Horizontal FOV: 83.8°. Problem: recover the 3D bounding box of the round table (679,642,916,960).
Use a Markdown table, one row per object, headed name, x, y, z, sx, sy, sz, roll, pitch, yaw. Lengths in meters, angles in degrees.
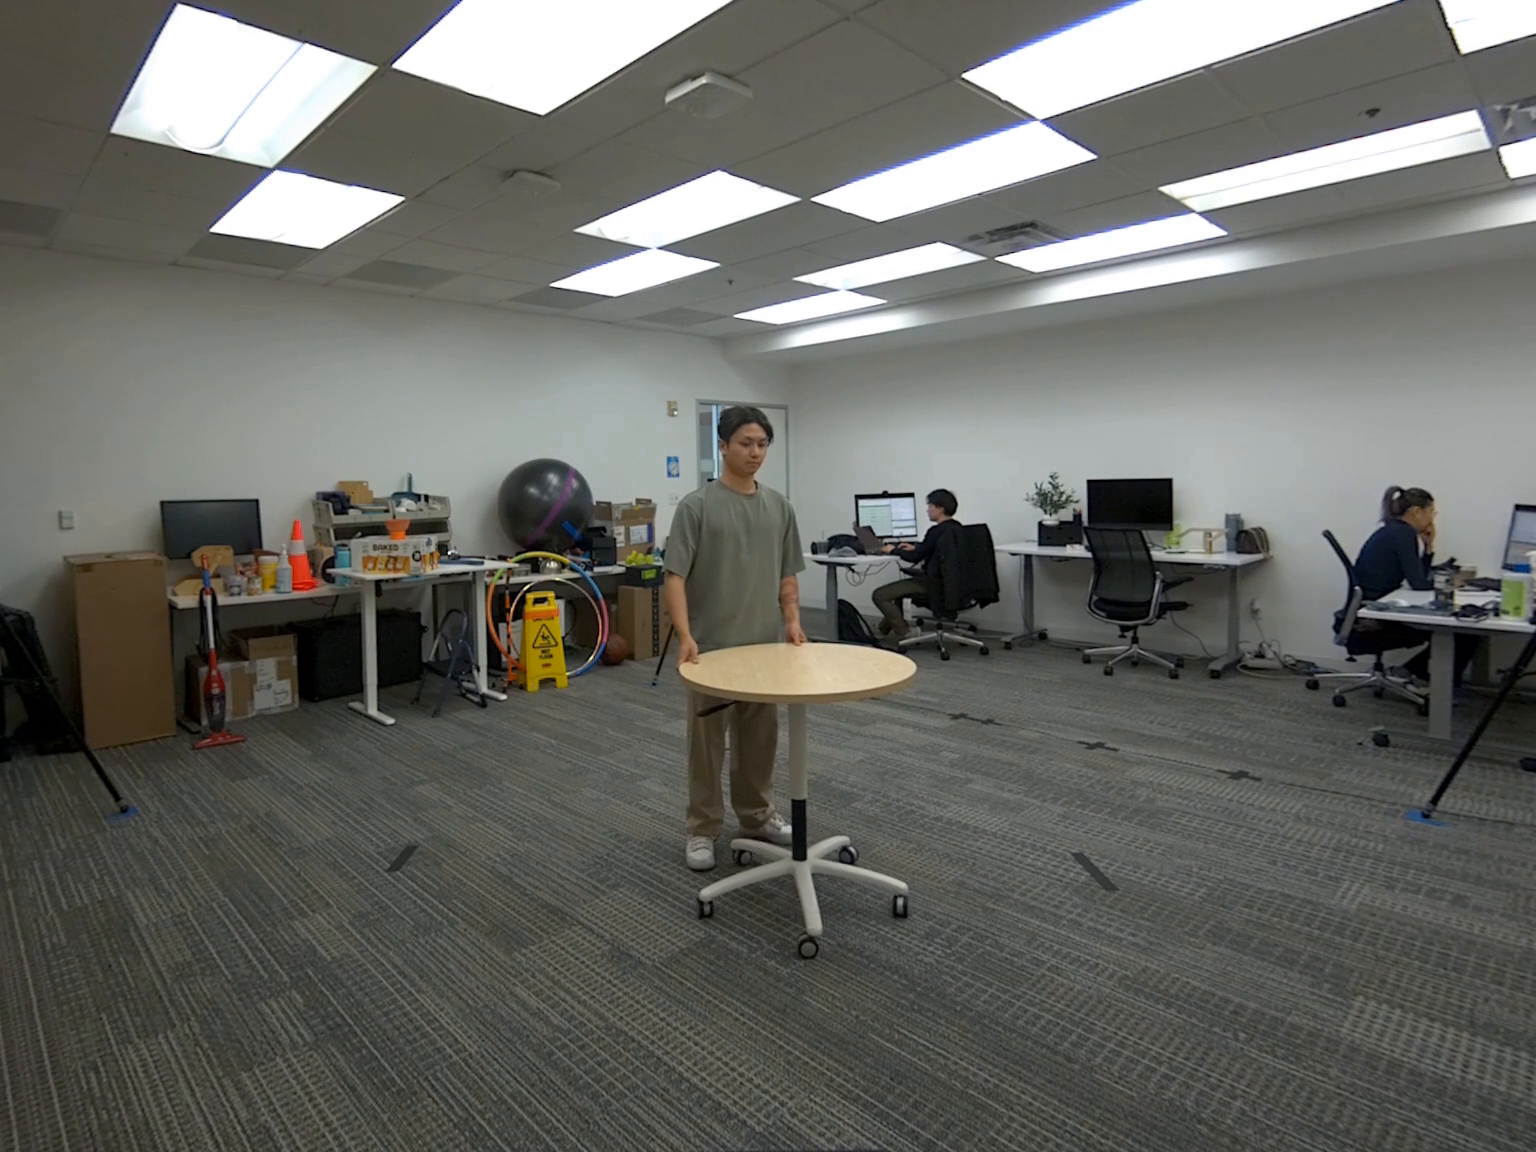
| name | x | y | z | sx | sy | sz | roll | pitch | yaw |
| --- | --- | --- | --- | --- | --- | --- | --- | --- | --- |
| round table | 0.112 | 0.683 | 2.798 | 0.784 | 0.783 | 0.789 | -1 | 5 | -2 |
